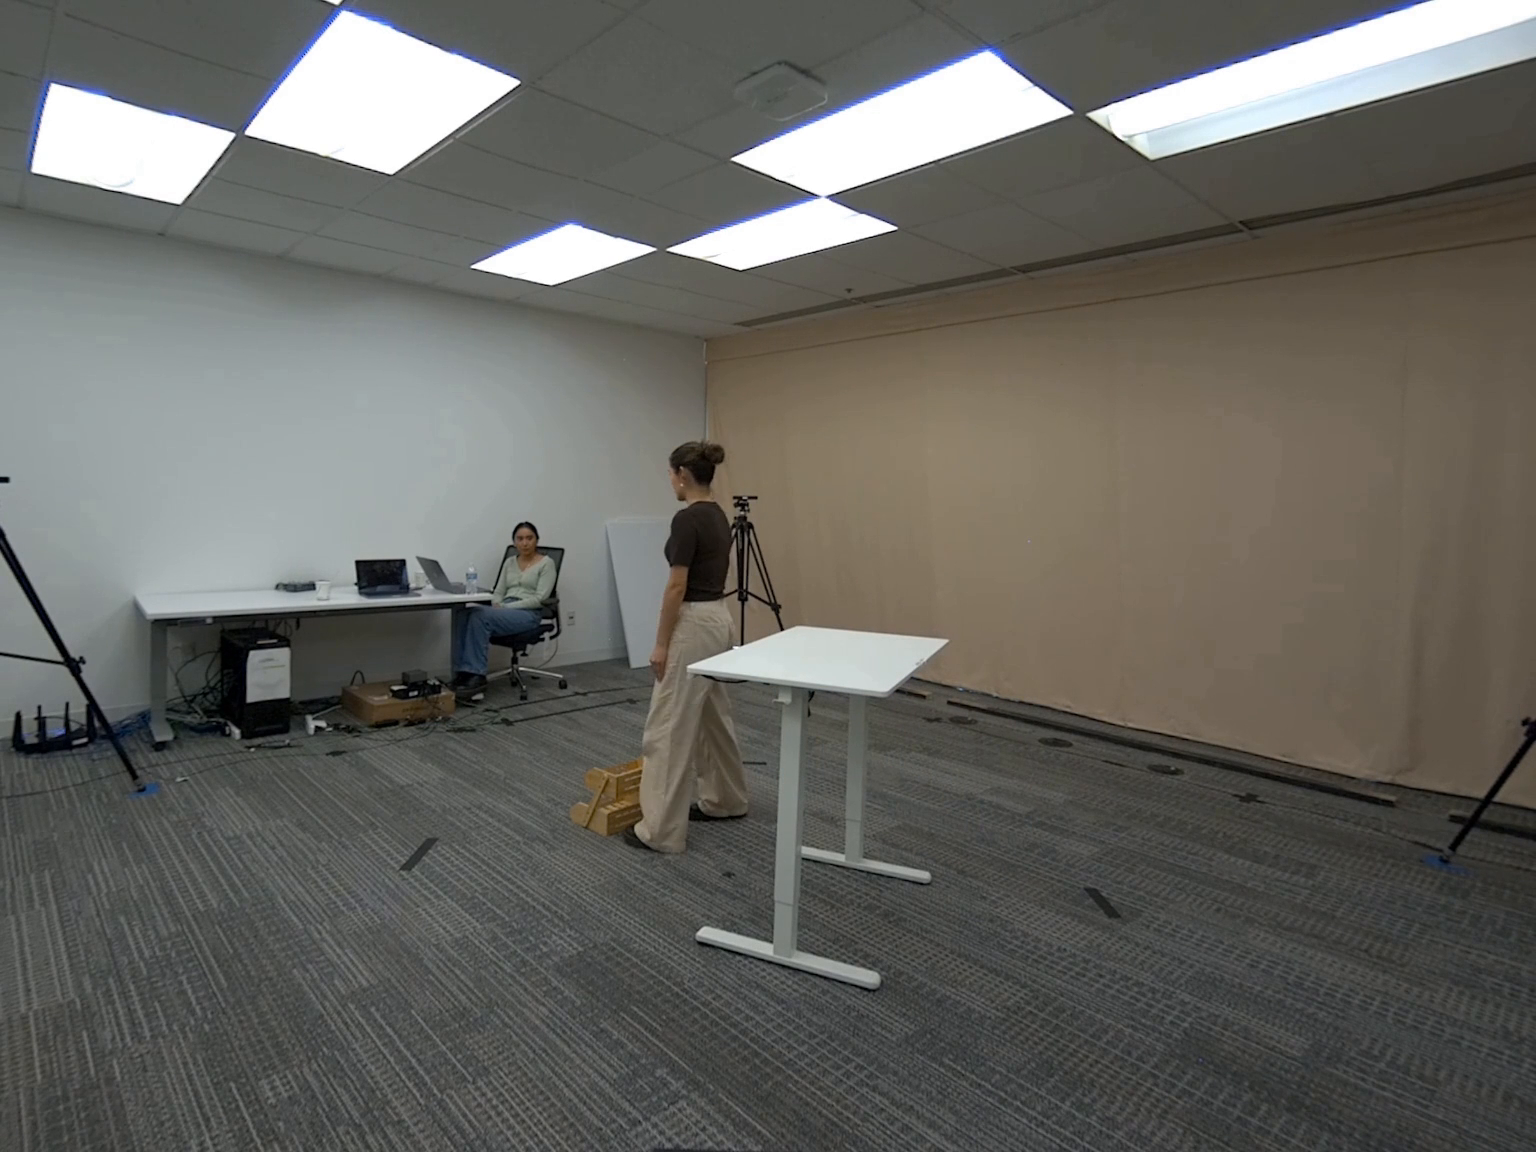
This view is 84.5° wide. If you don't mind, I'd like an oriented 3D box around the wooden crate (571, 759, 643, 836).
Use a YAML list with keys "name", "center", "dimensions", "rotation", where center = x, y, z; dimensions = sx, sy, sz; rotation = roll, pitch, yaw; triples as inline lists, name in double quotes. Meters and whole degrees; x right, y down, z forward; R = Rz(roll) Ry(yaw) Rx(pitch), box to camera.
- name: "wooden crate"
  center: [-0.646, 0.915, 3.604]
  dimensions: [0.310, 0.273, 0.317]
  rotation: [5, 5, 40]
